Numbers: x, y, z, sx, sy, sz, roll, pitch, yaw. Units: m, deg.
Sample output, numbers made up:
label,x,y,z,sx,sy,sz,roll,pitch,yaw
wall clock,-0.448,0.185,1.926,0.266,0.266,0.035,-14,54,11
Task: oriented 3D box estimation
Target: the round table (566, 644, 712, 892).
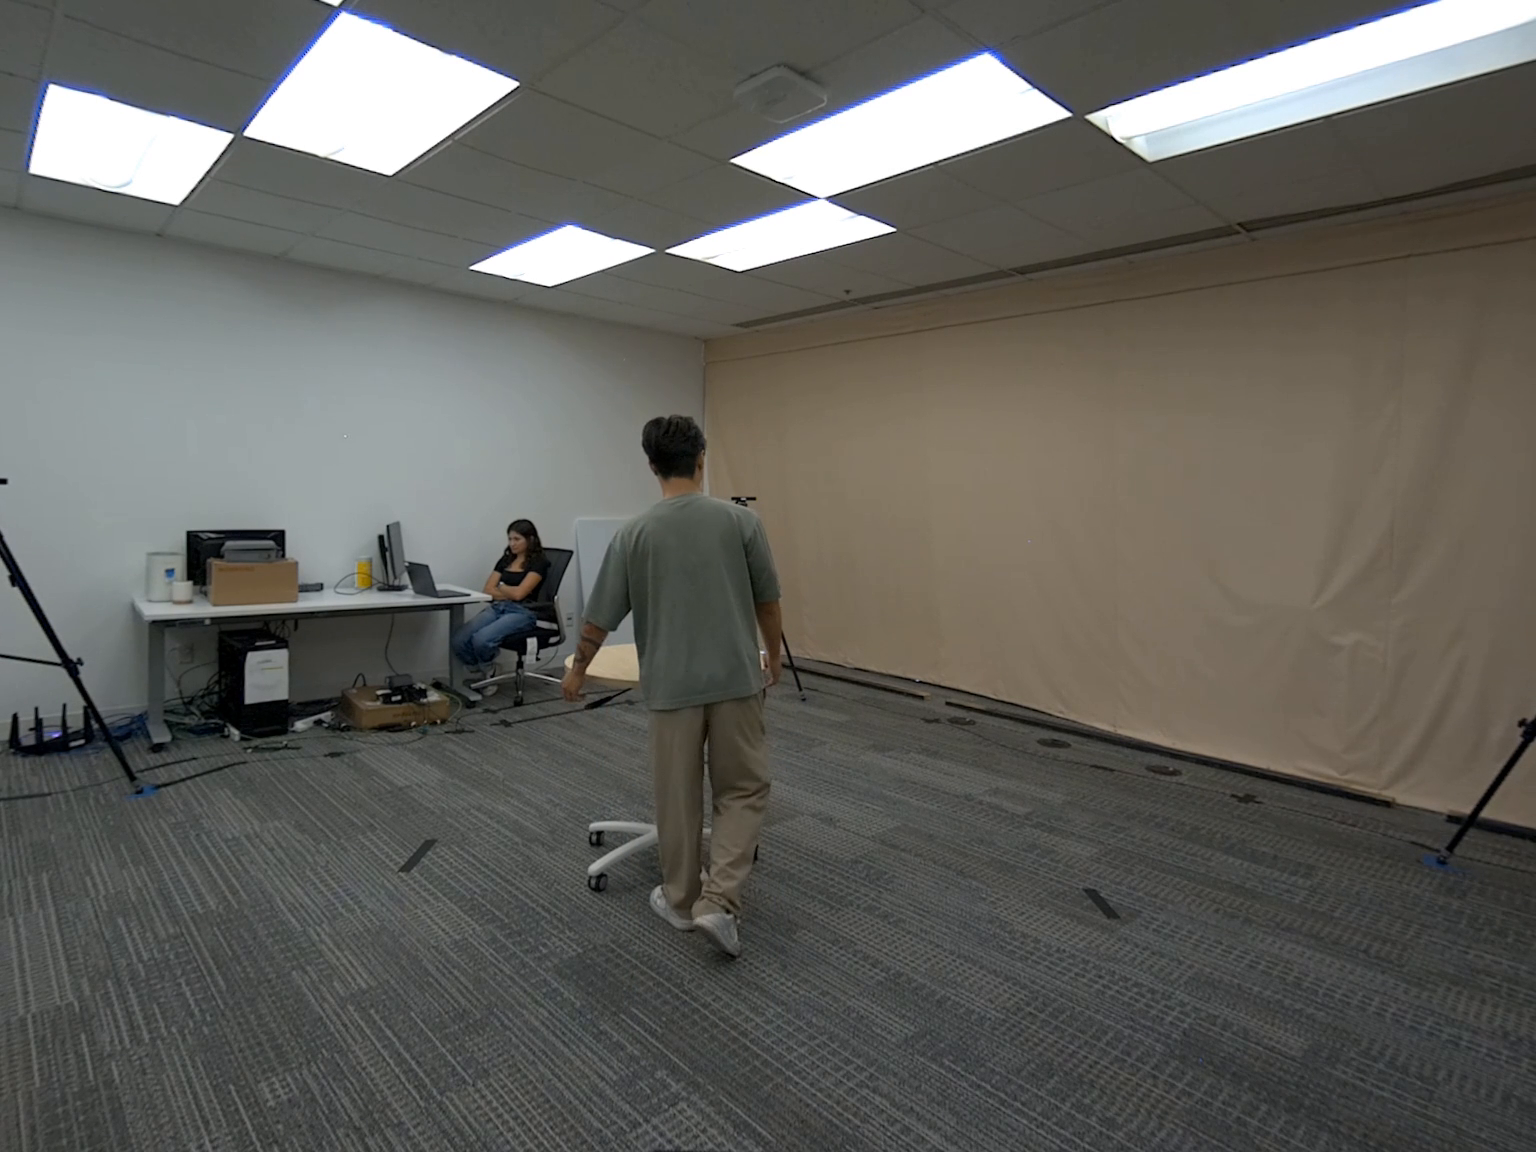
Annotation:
label,x,y,z,sx,sy,sz,roll,pitch,yaw
round table,-0.391,0.705,3.186,0.784,0.784,0.788,1,4,-1
